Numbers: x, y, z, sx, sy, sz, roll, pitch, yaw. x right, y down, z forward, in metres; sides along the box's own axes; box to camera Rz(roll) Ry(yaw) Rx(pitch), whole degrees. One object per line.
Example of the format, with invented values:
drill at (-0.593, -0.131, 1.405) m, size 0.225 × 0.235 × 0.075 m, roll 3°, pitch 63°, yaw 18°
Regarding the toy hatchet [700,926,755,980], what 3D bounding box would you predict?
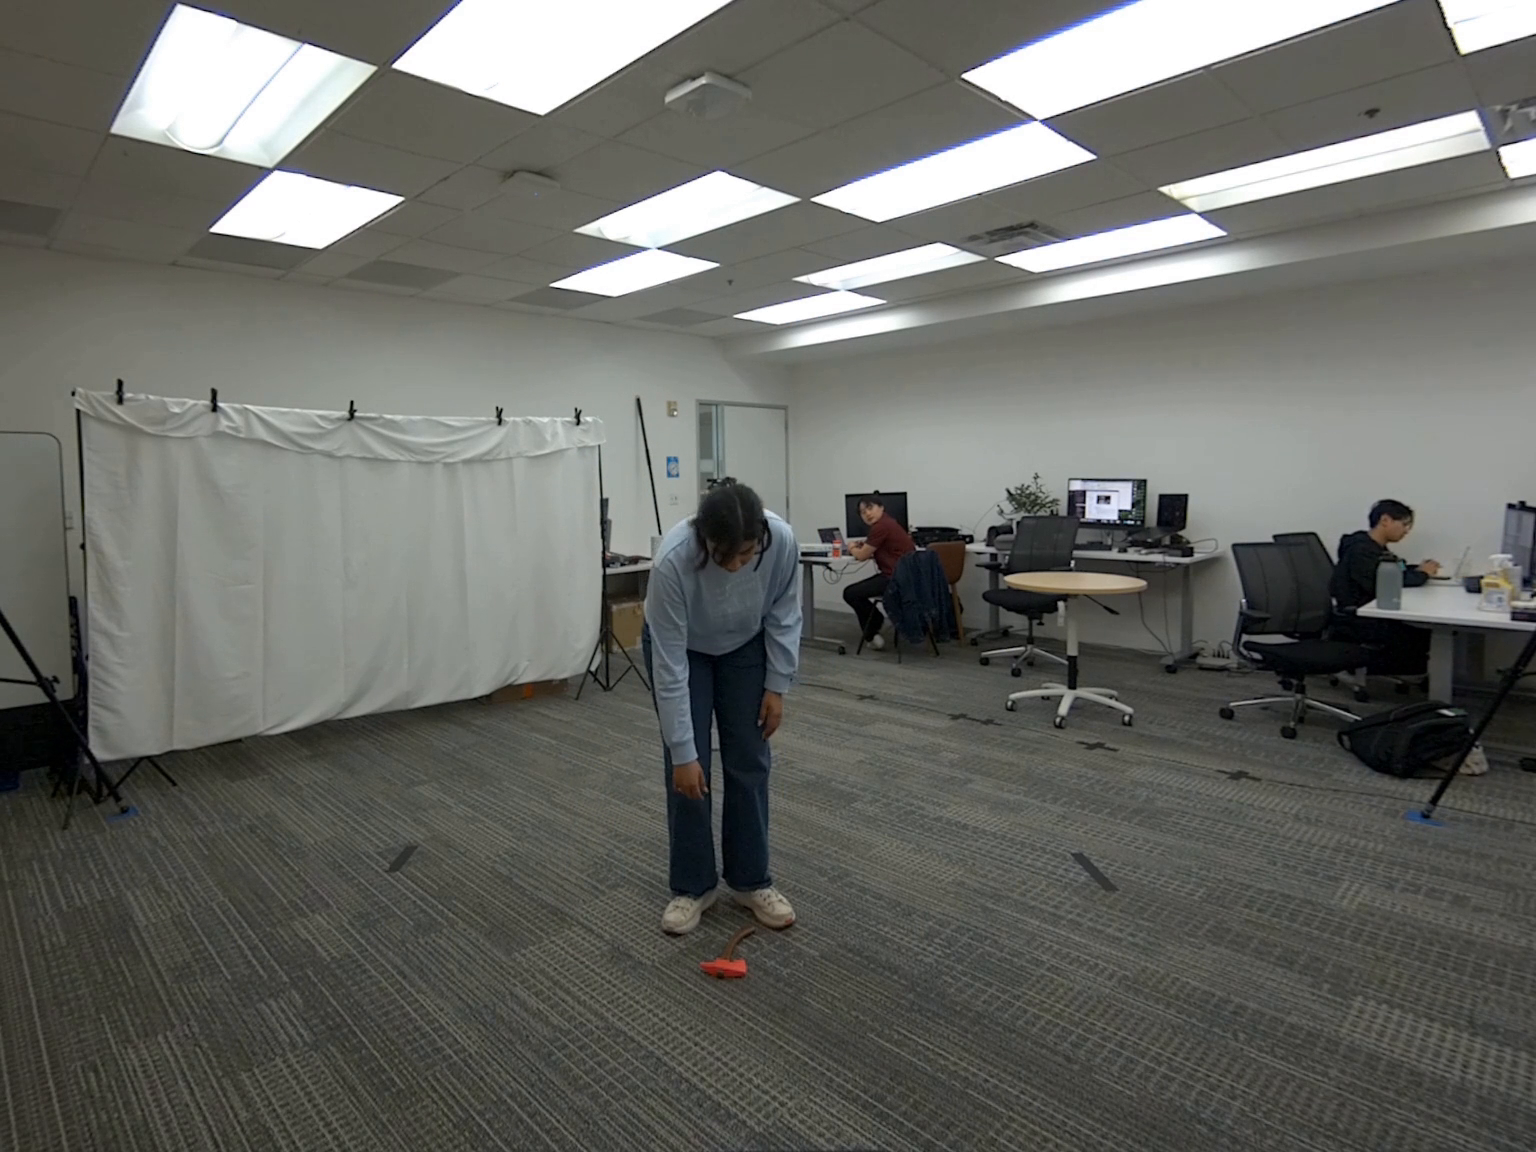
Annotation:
toy hatchet at (-0.083, 1.106, 2.507) m, size 0.134 × 0.029 × 0.264 m, roll 2°, pitch 6°, yaw 30°
